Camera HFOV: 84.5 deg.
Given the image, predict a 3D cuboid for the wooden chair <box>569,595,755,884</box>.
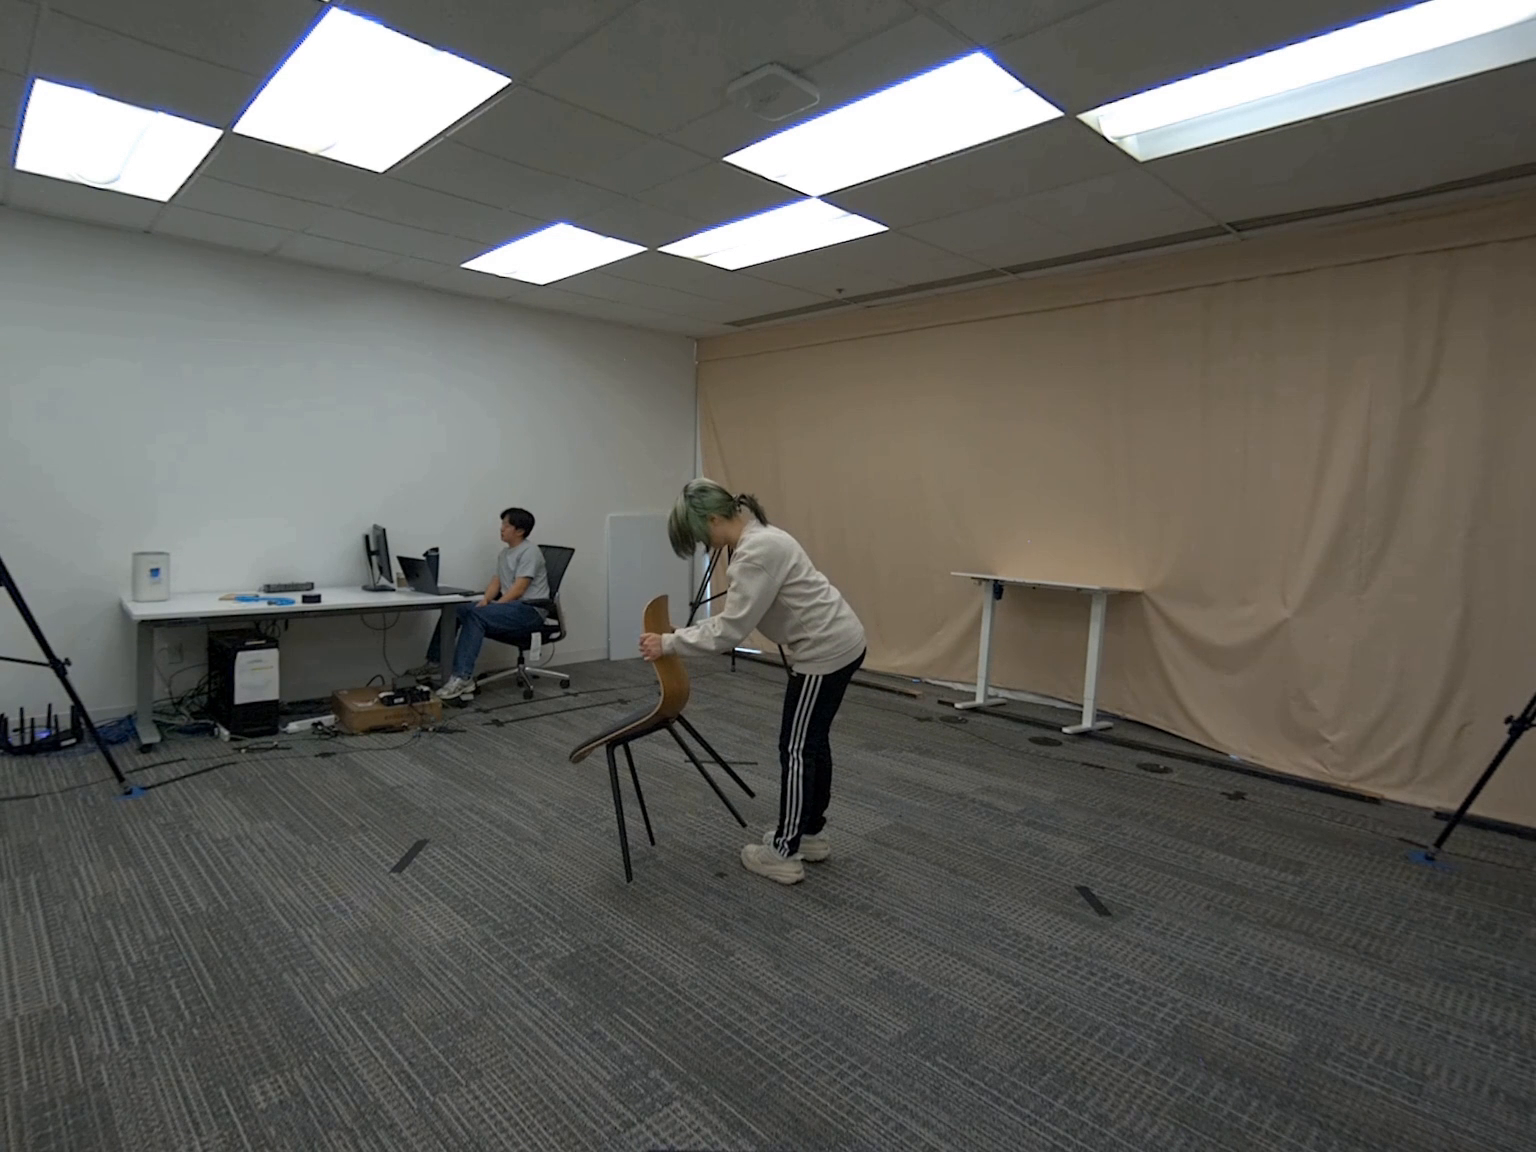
[{"bbox_3d":[-0.456,0.570,3.101,0.524,0.882,0.475,-22,-4,3],"label":"wooden chair"}]
